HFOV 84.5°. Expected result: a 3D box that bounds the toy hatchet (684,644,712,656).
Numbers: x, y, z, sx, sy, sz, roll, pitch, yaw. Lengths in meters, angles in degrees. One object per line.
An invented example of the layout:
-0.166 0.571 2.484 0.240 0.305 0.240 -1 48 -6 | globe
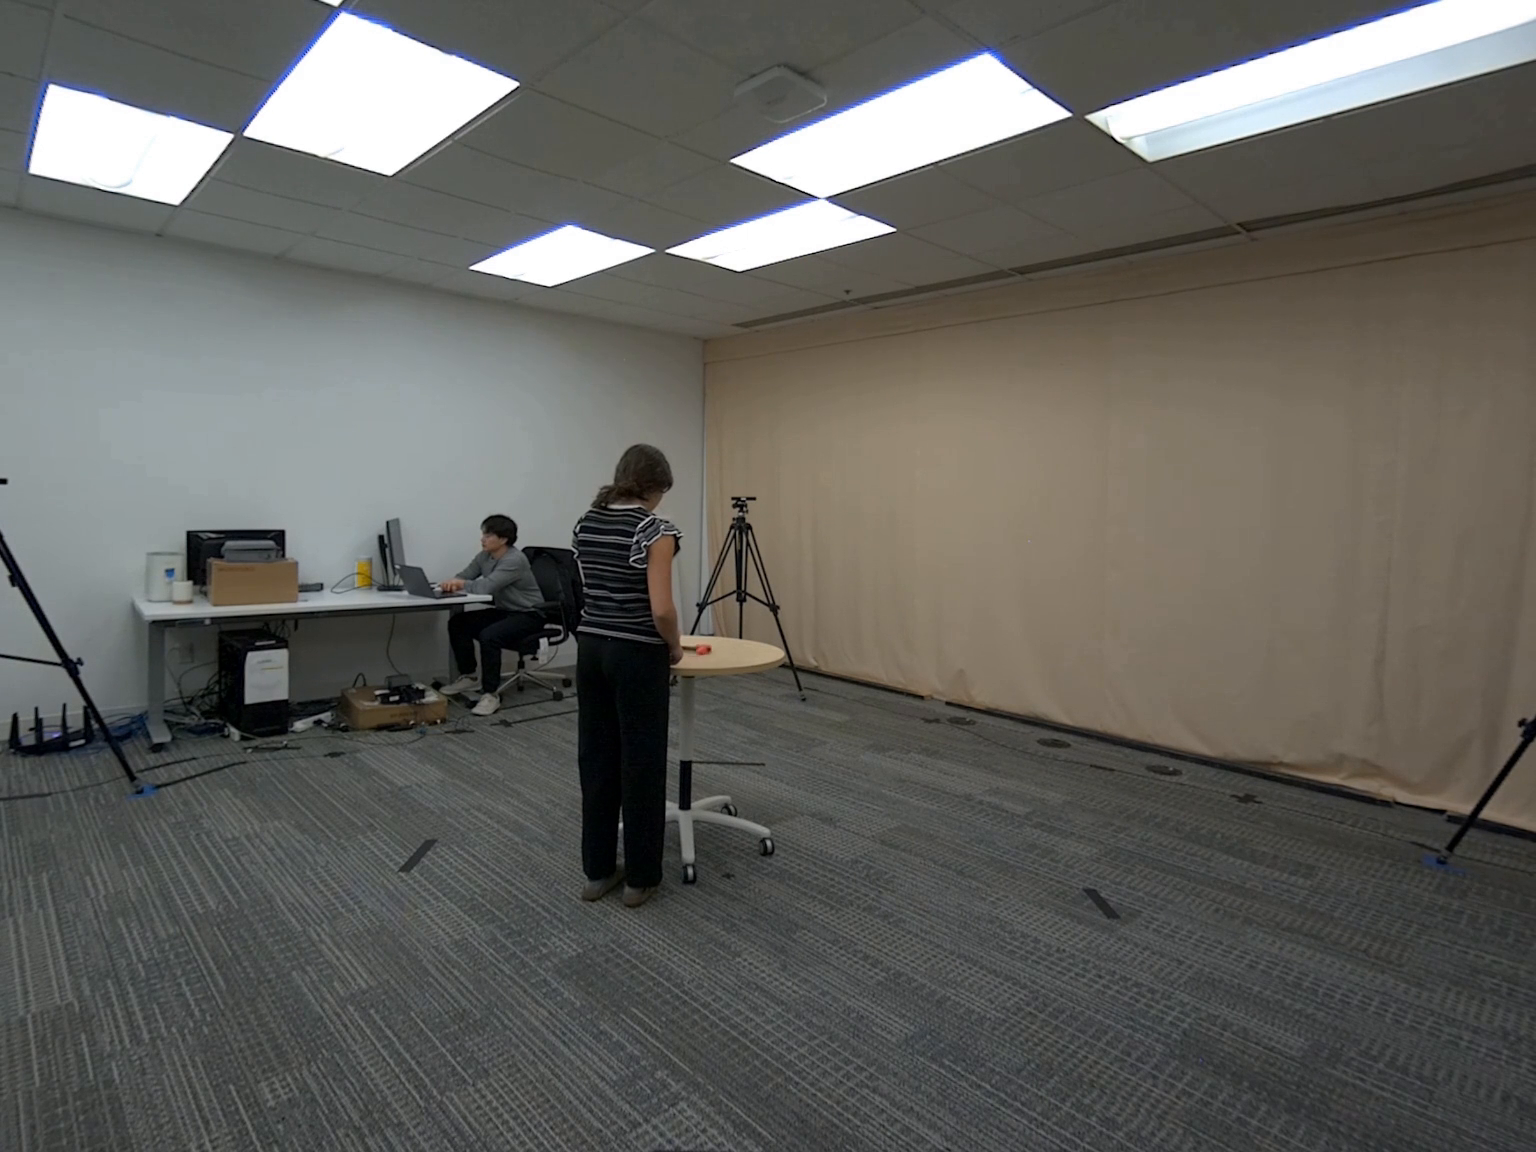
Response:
-0.353 0.283 3.369 0.277 0.029 0.128 4 7 38 | toy hatchet
